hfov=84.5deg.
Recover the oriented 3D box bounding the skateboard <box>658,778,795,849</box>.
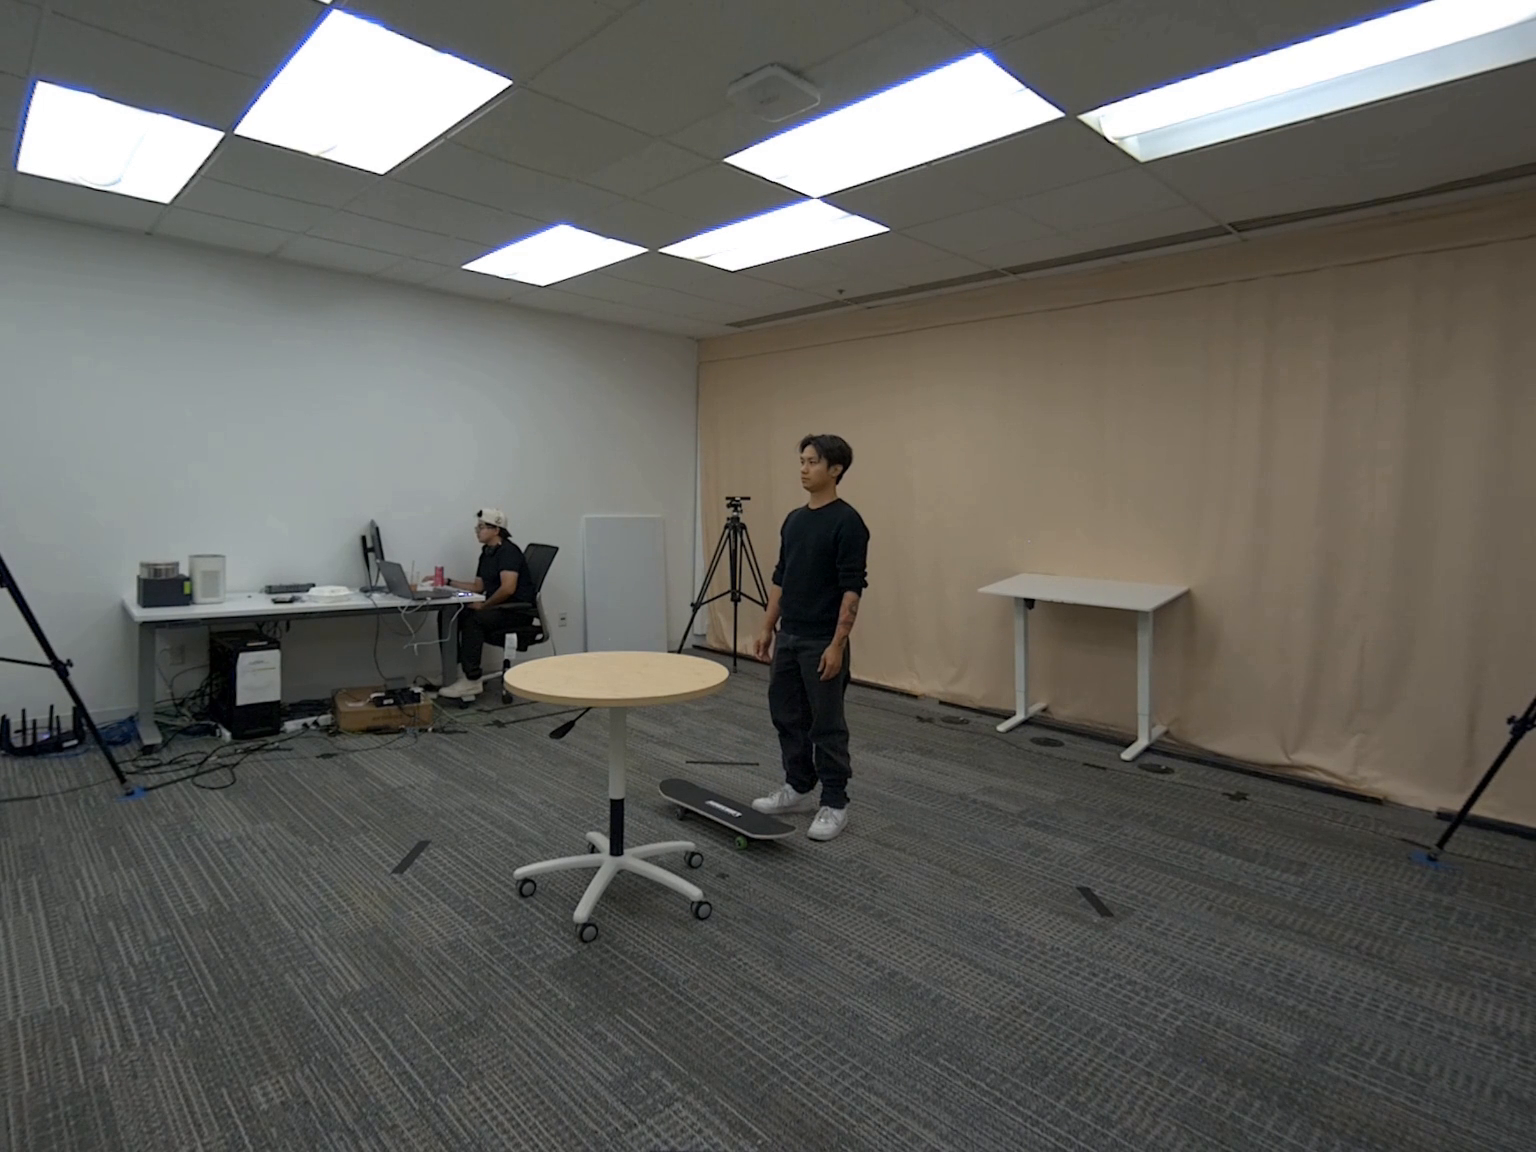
[{"bbox_3d":[-0.198,1.014,3.552,0.189,0.110,0.806,-2,6,-42],"label":"skateboard"}]
